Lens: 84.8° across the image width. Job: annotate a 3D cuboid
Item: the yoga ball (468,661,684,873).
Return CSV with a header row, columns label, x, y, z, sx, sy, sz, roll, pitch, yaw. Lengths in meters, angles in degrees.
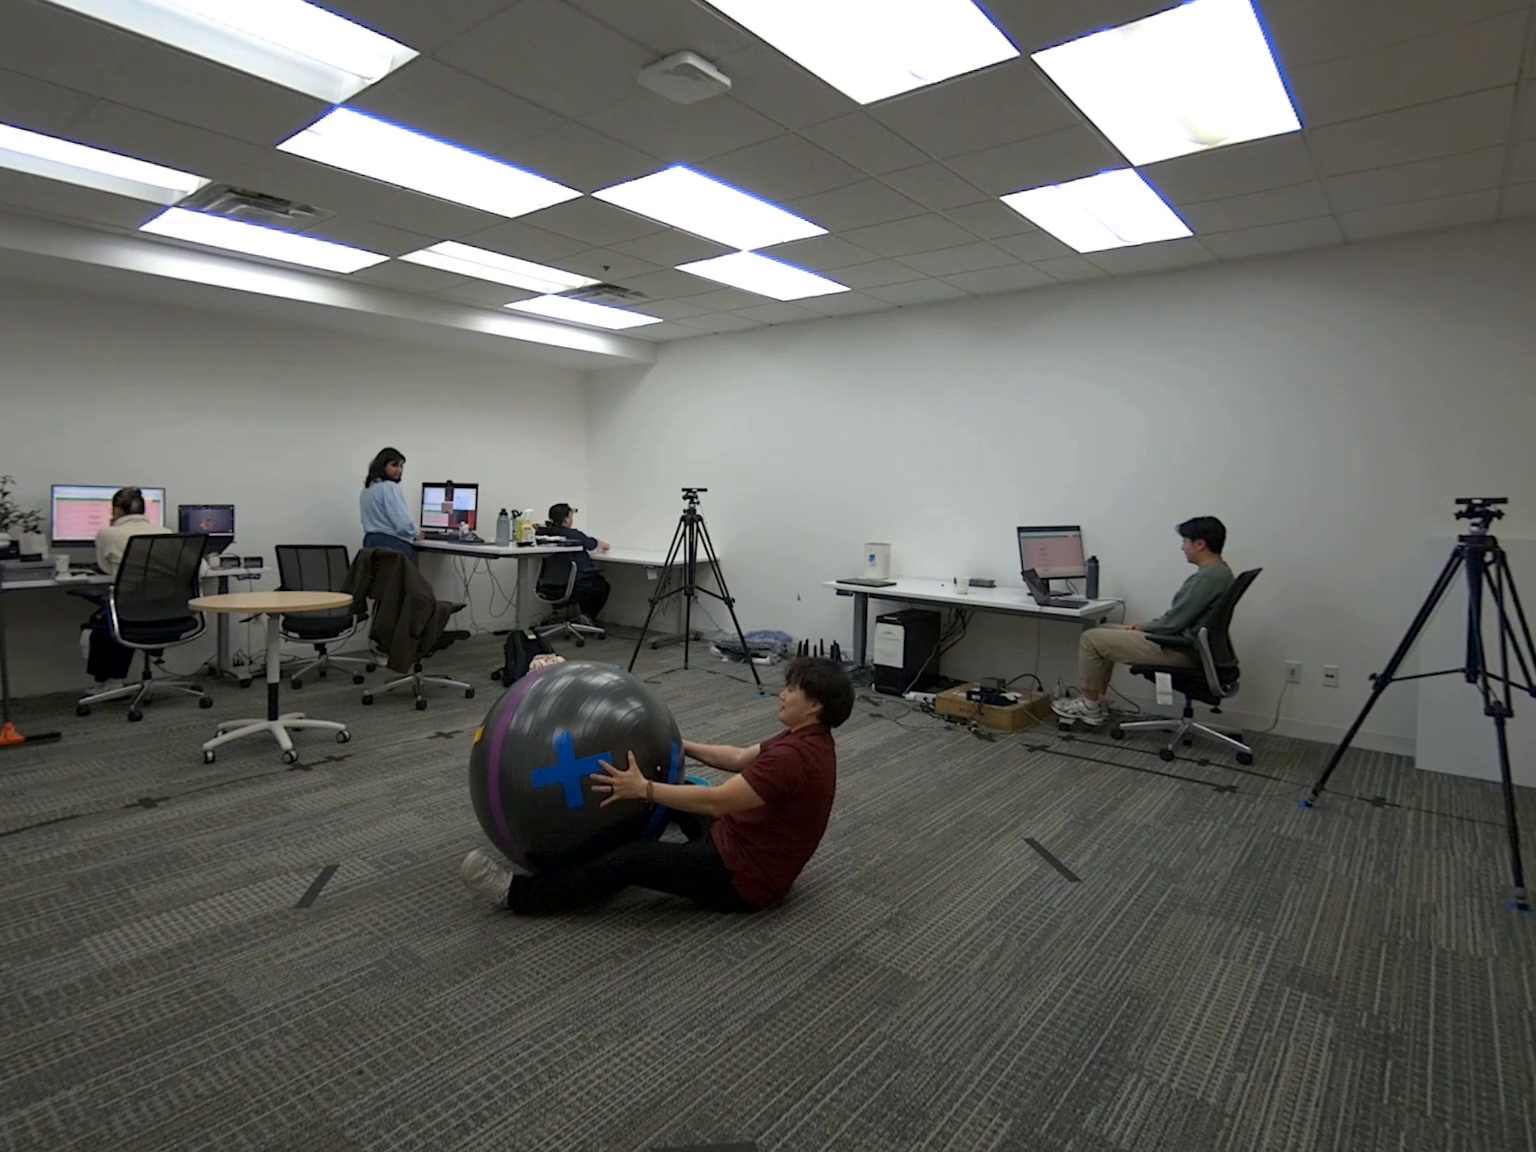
label,x,y,z,sx,sy,sz,roll,pitch,yaw
yoga ball,-0.701,0.686,3.046,0.757,0.755,0.762,1,4,-2
